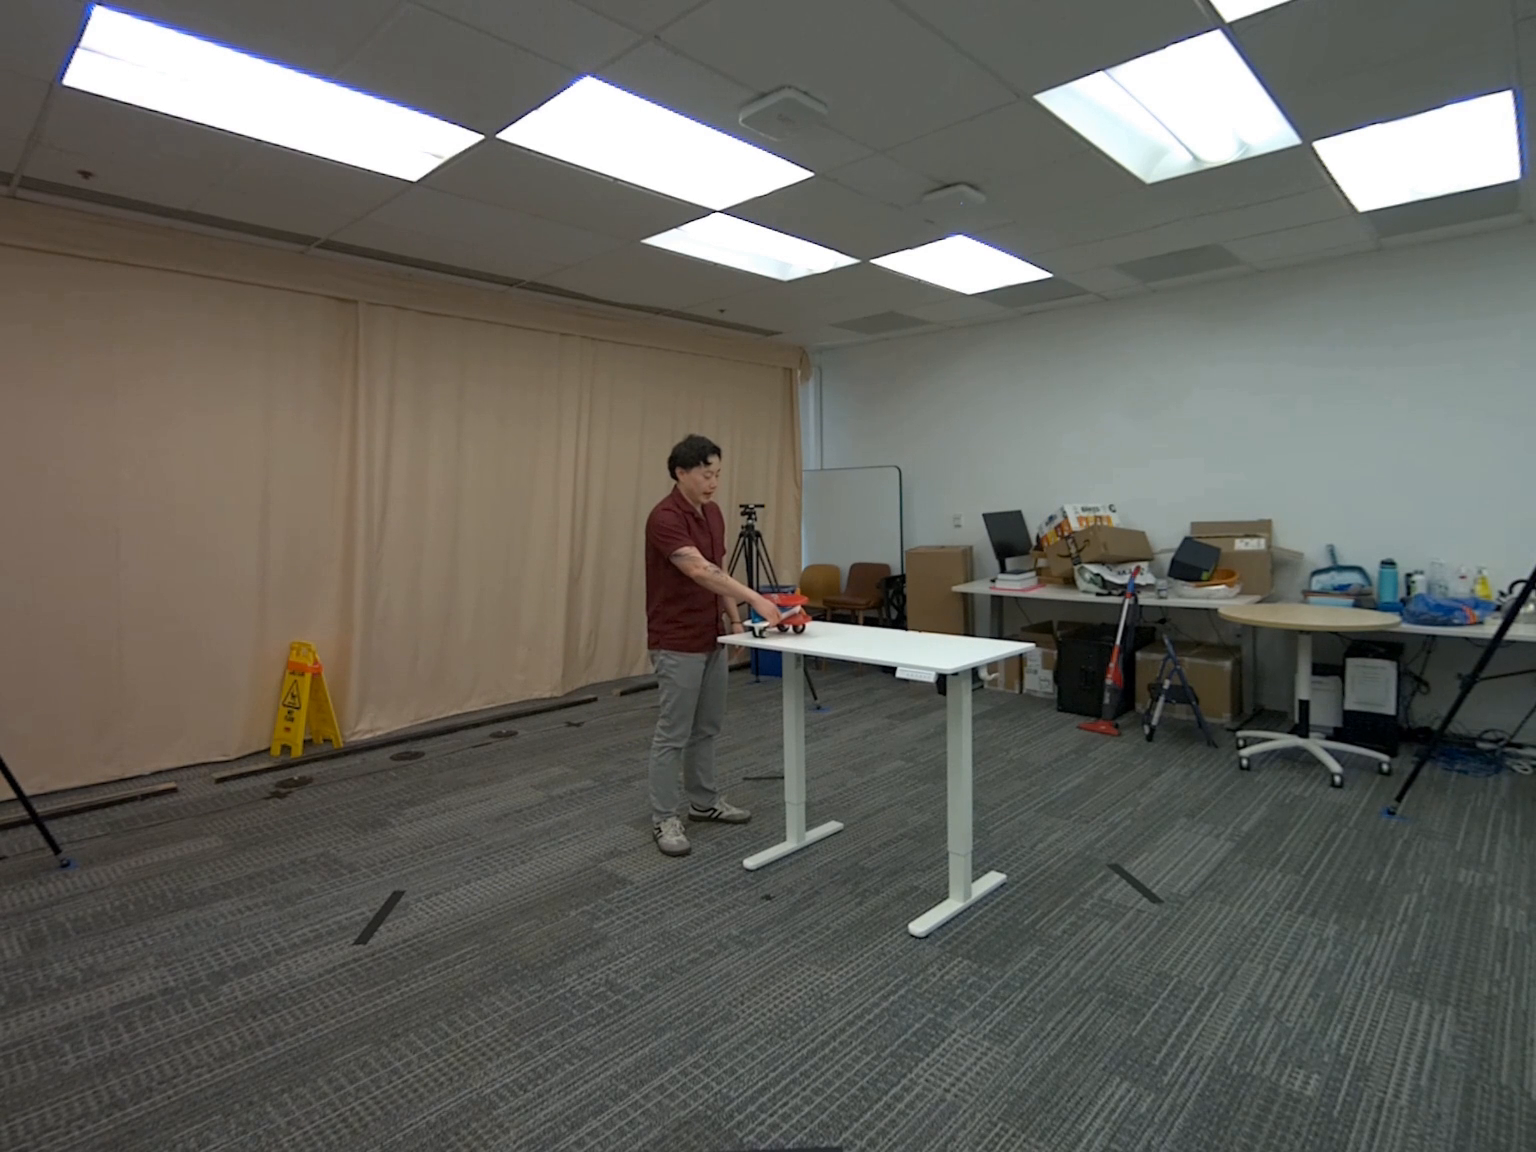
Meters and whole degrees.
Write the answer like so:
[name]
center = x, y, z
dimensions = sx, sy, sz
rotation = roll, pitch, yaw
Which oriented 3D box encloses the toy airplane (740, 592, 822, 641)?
[toy airplane]
center = 0.050, 0.152, 3.267
dimensions = 0.256, 0.156, 0.254
rotation = -2, 2, 18
